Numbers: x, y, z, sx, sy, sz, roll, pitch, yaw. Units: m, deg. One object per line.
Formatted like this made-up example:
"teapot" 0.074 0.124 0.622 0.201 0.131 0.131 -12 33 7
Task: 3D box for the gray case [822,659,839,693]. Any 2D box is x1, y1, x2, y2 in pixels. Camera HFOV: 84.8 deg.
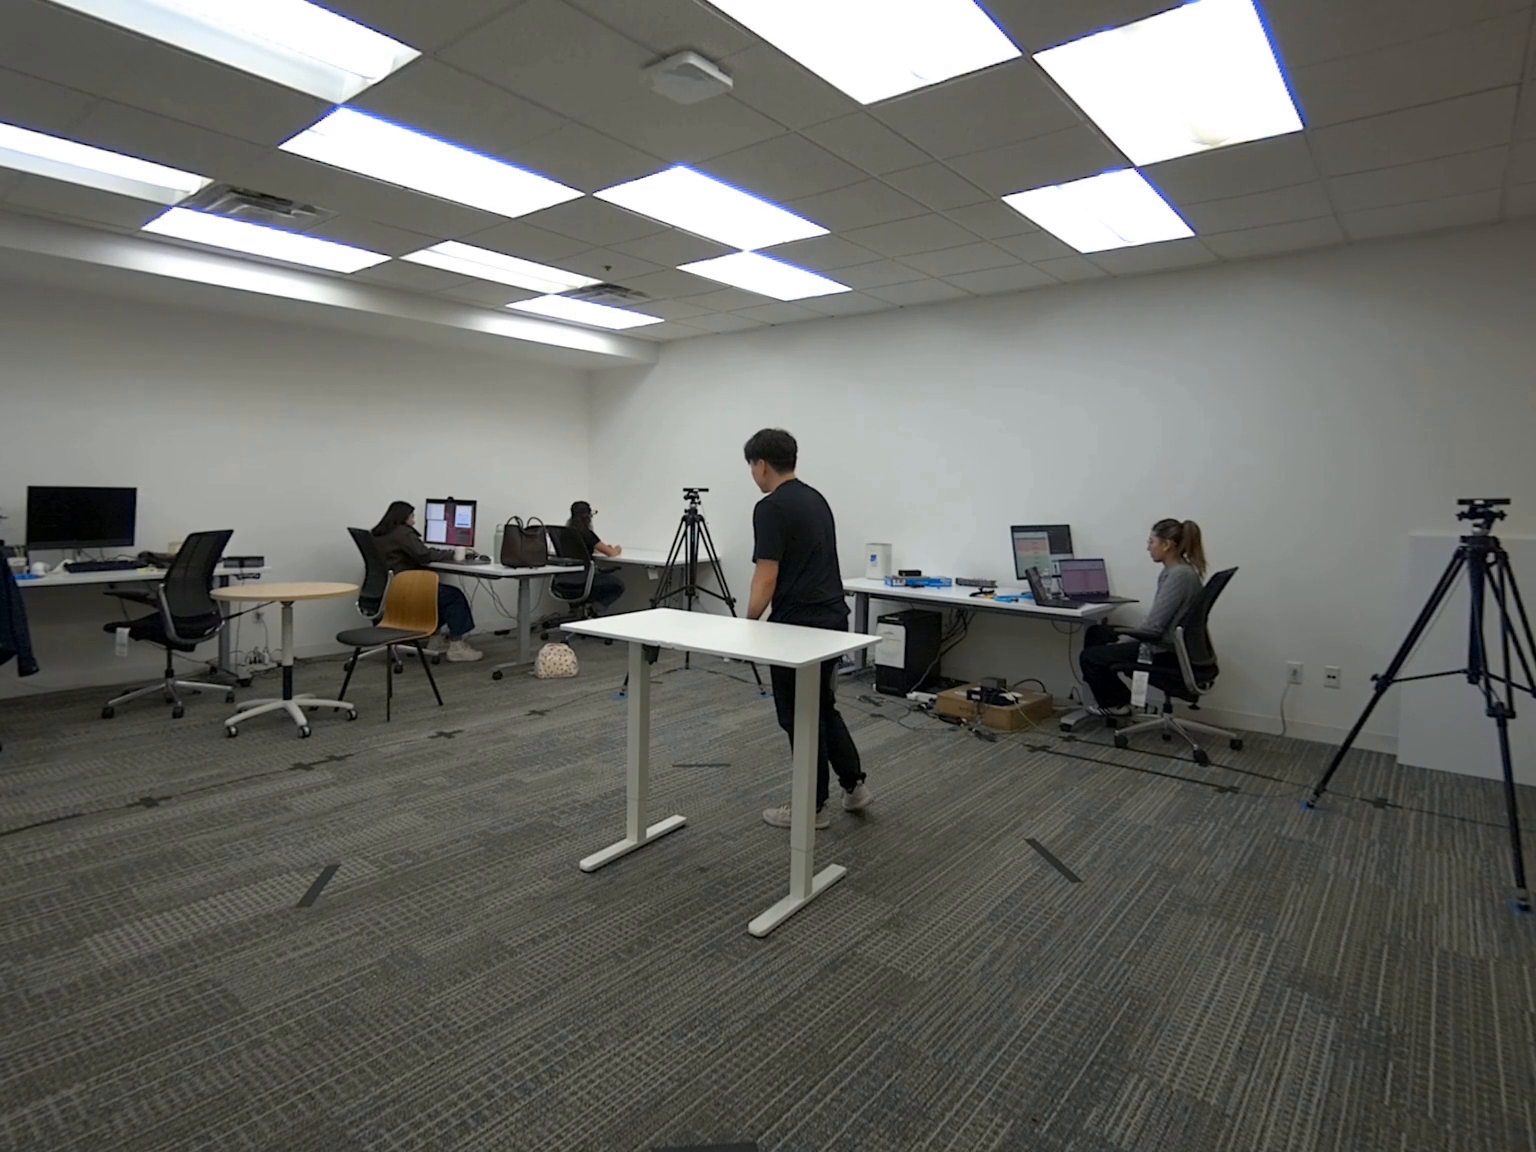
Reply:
"gray case" 0.186 0.391 3.856 0.260 0.261 0.103 0 -3 10
